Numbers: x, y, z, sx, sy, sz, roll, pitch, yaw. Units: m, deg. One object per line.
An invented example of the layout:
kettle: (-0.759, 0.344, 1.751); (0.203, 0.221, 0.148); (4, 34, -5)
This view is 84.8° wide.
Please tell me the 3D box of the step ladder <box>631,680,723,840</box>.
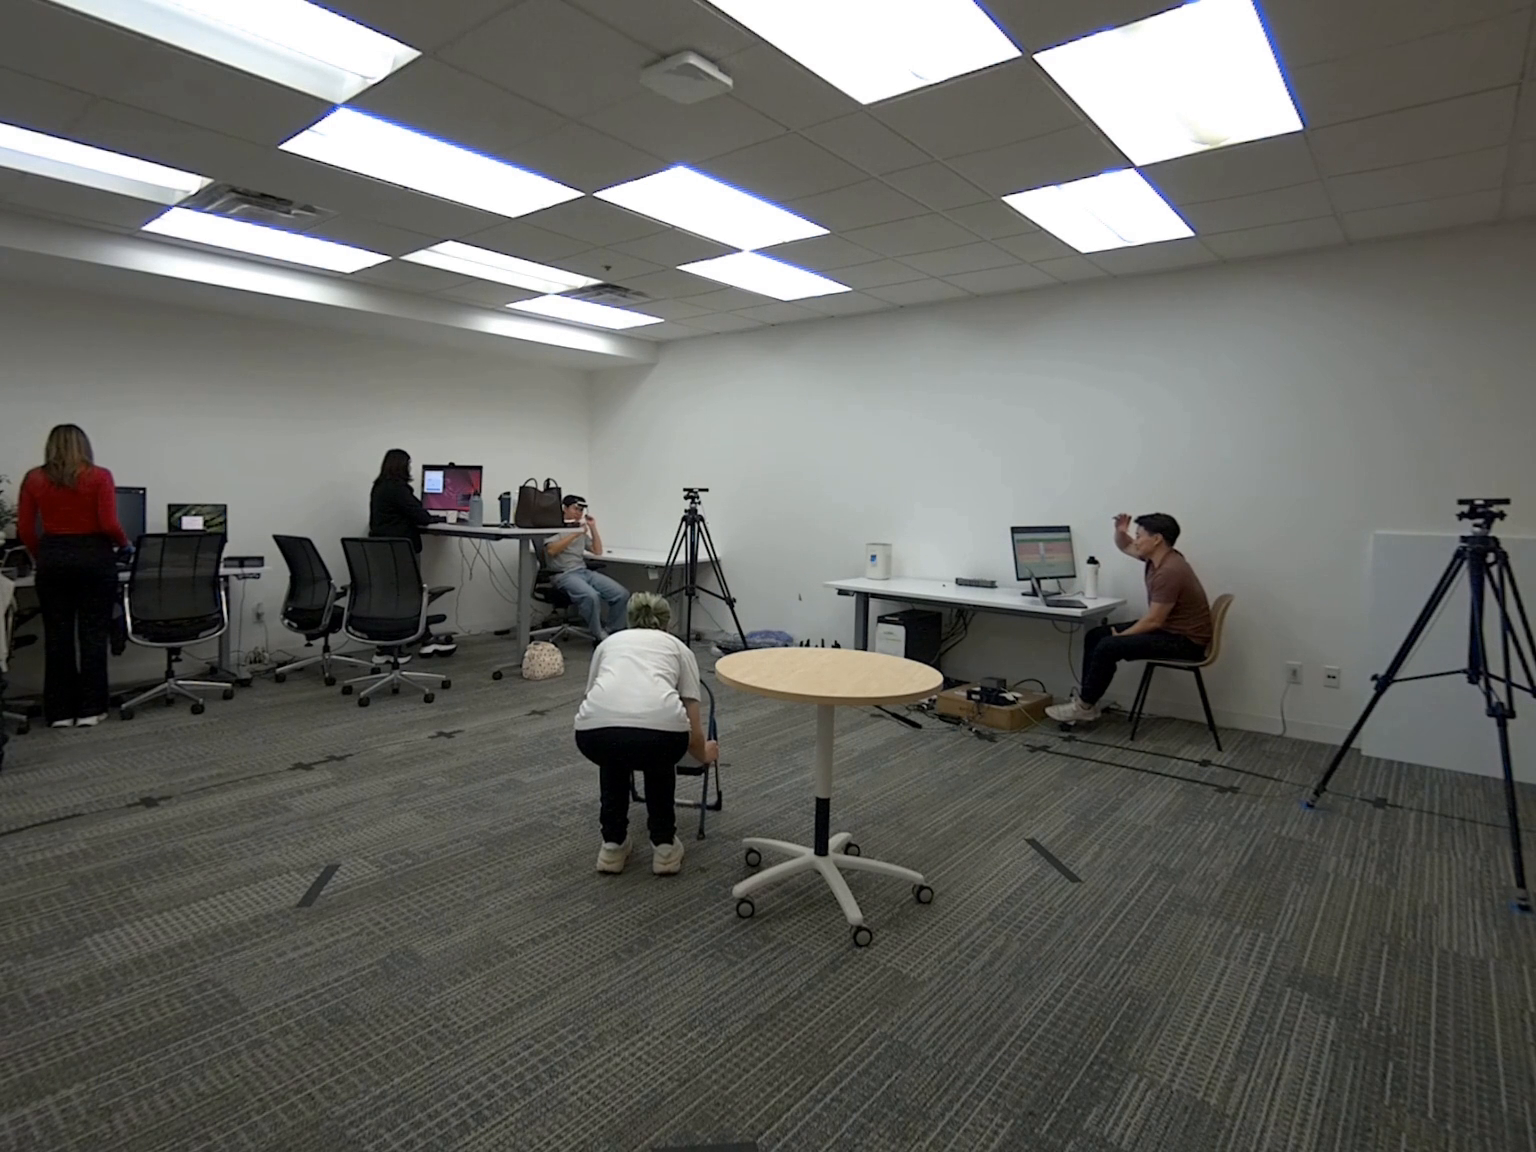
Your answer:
step ladder: (-0.433, 0.714, 3.576); (0.437, 0.604, 0.345); (2, 3, 13)
